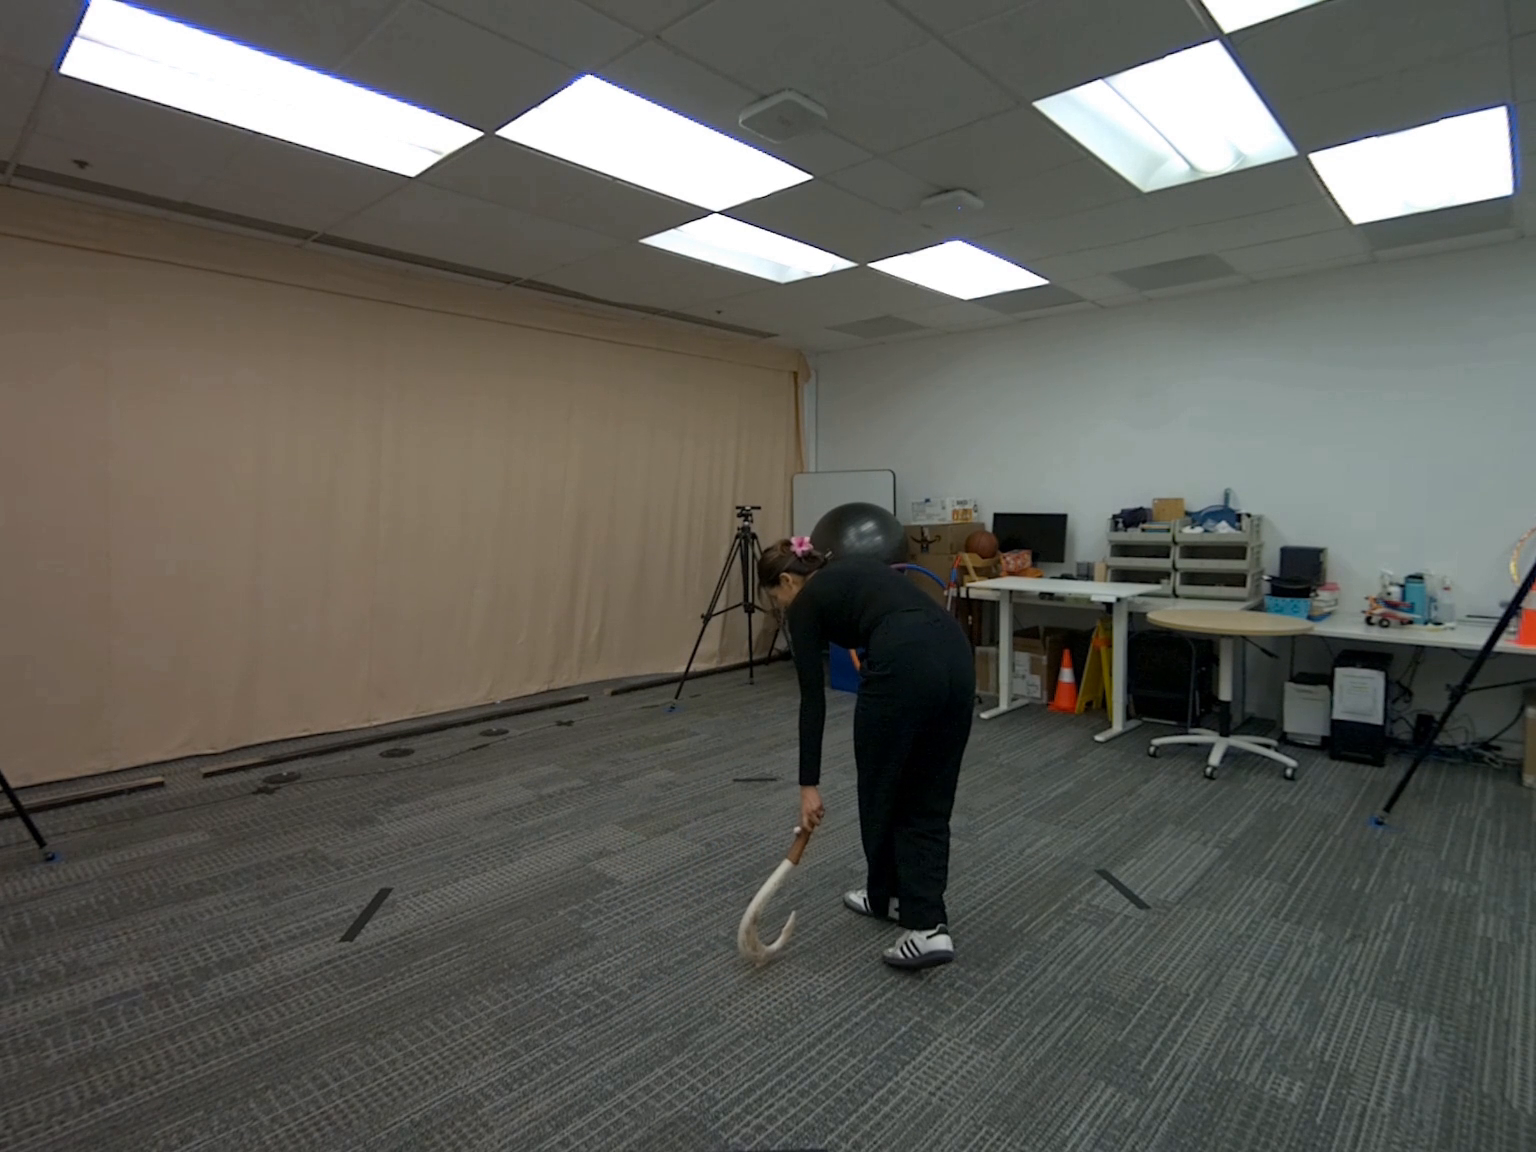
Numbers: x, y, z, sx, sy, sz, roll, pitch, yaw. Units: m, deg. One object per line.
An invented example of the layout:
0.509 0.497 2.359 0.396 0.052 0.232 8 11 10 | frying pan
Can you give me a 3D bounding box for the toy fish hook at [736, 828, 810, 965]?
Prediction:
0.071 0.959 2.608 0.050 0.506 0.217 9 -30 47 | toy fish hook
